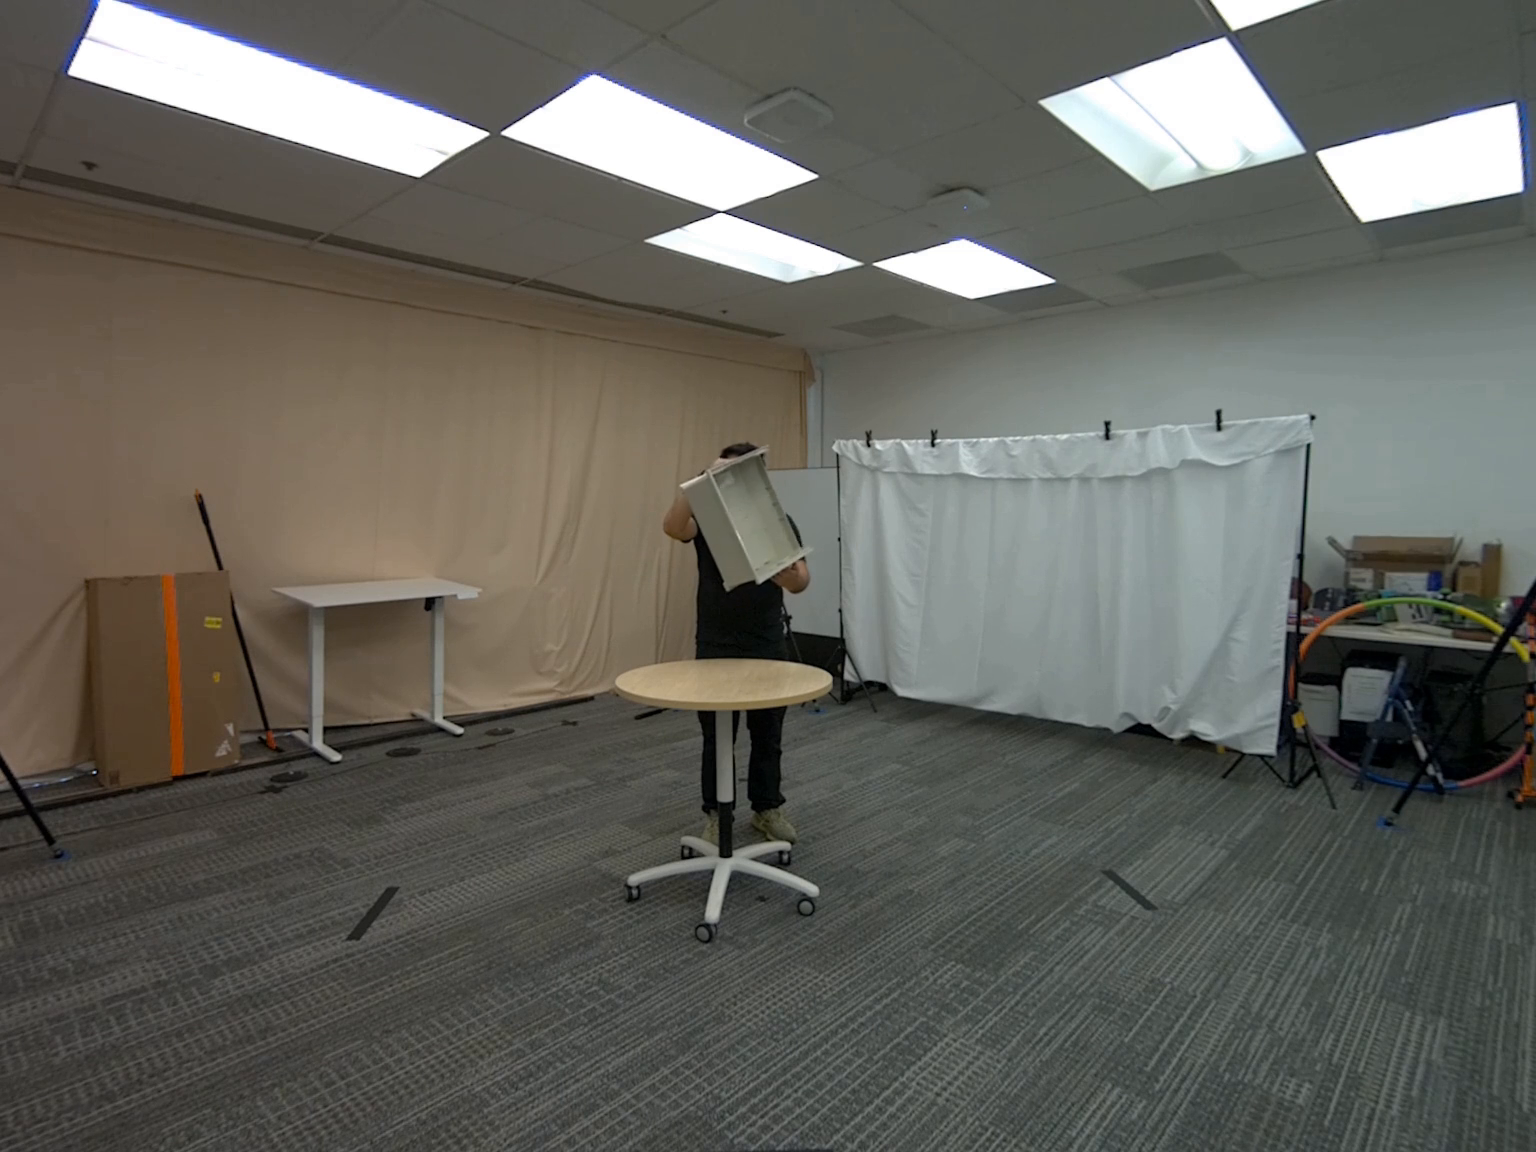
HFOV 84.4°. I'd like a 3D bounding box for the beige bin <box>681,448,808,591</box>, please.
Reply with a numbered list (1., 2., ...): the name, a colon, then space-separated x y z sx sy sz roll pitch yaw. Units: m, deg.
1. beige bin: -0.063 -0.212 3.041 0.193 0.420 0.370 -19 8 46
